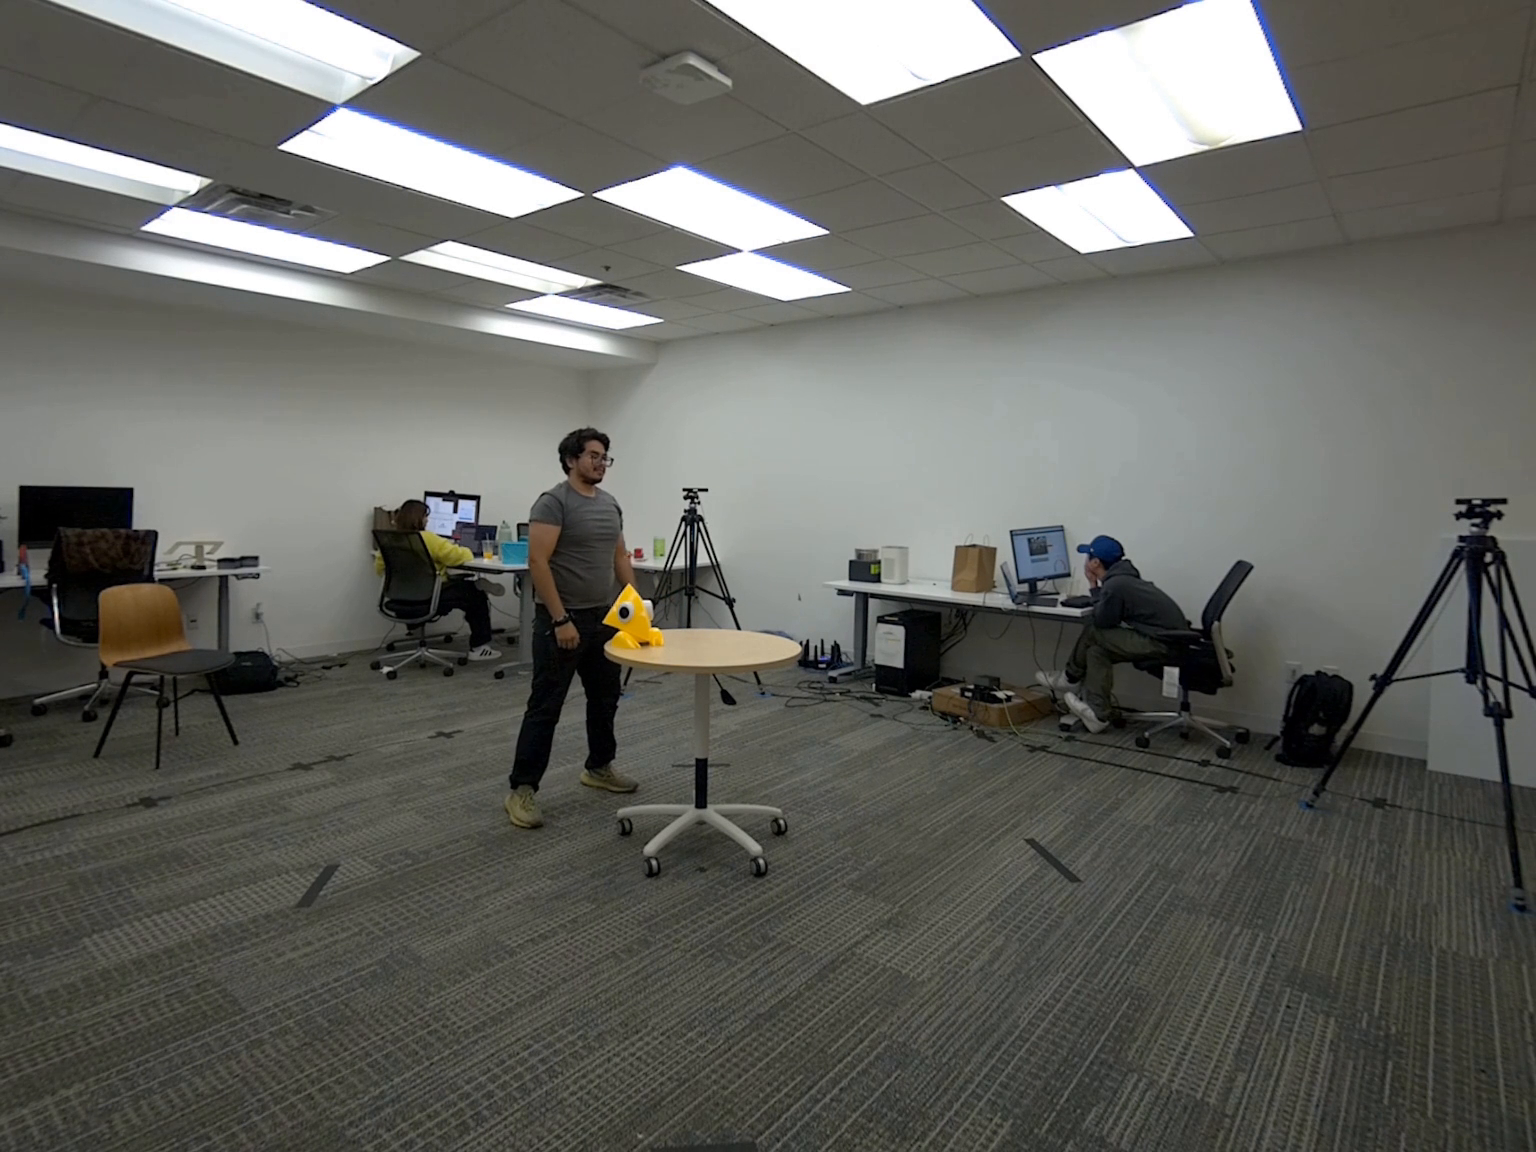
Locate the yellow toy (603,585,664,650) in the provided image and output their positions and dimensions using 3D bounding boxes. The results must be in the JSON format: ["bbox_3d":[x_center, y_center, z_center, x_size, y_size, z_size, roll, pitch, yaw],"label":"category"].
[{"bbox_3d":[-0.526,0.149,3.331,0.199,0.230,0.199,-3,6,-38],"label":"yellow toy"}]
